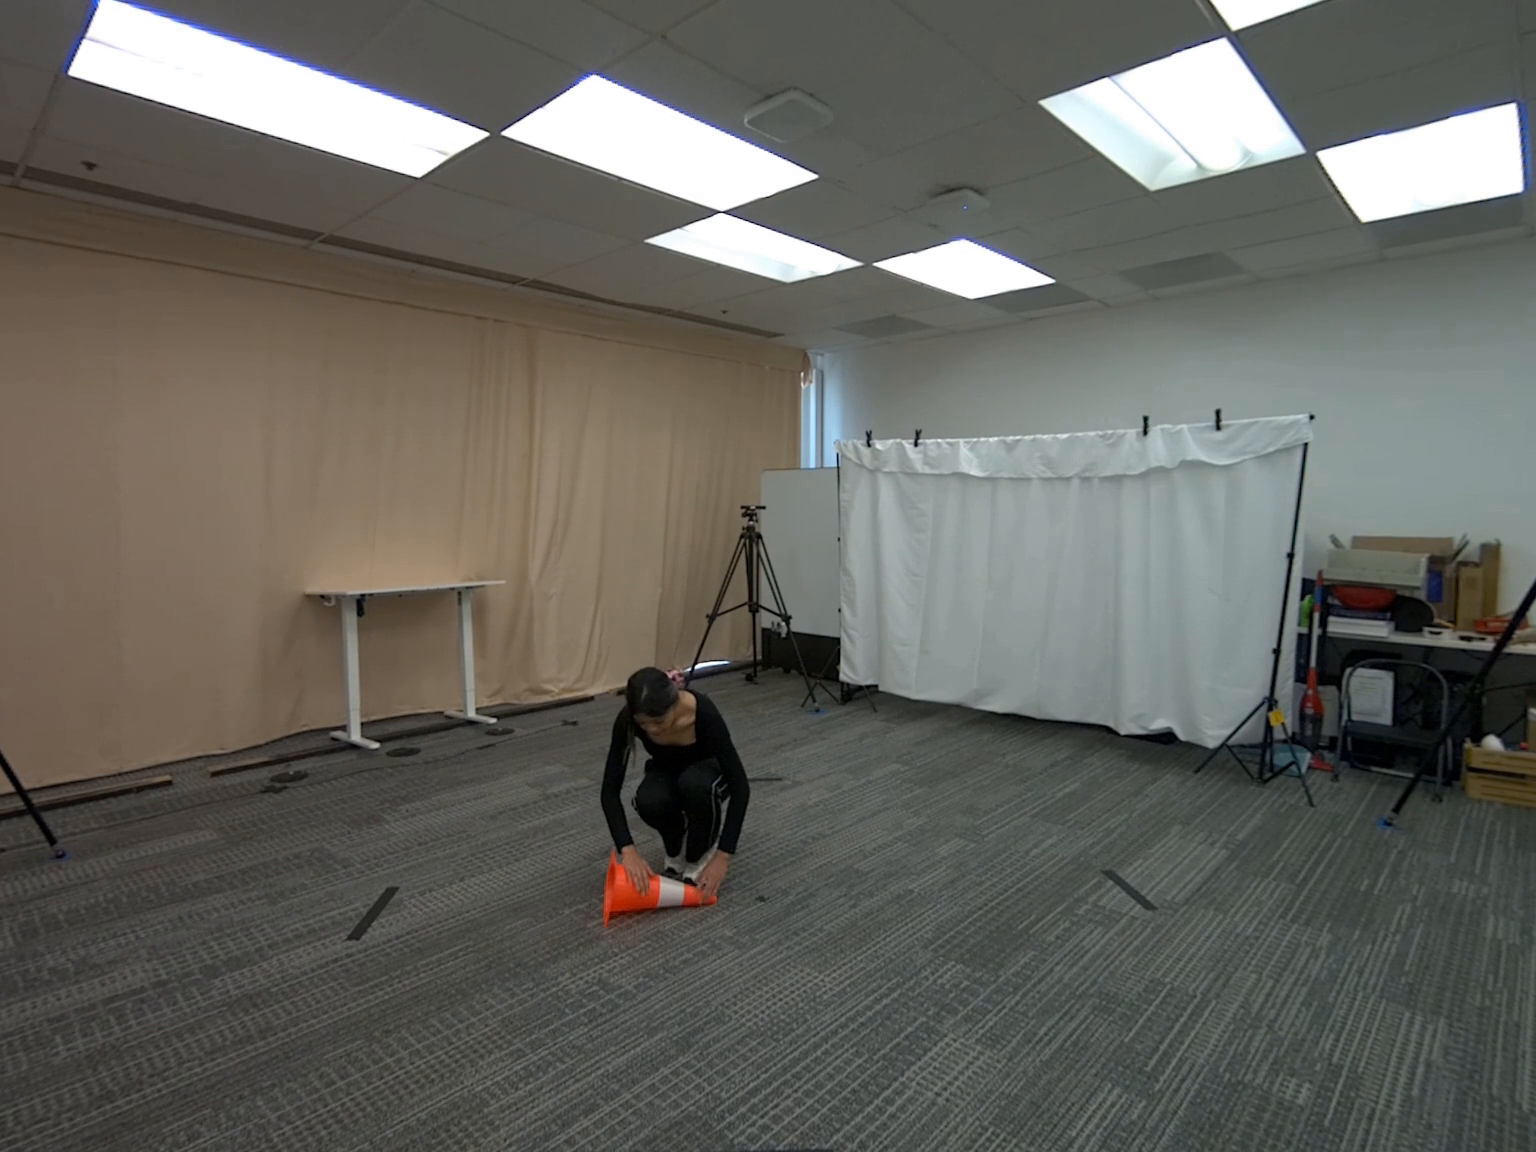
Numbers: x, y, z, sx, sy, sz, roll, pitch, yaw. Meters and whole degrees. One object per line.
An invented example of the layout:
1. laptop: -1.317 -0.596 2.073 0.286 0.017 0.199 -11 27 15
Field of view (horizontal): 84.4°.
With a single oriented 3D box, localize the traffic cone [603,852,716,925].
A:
1. traffic cone: -0.354 1.091 2.920 0.377 0.205 0.207 12 3 -15
